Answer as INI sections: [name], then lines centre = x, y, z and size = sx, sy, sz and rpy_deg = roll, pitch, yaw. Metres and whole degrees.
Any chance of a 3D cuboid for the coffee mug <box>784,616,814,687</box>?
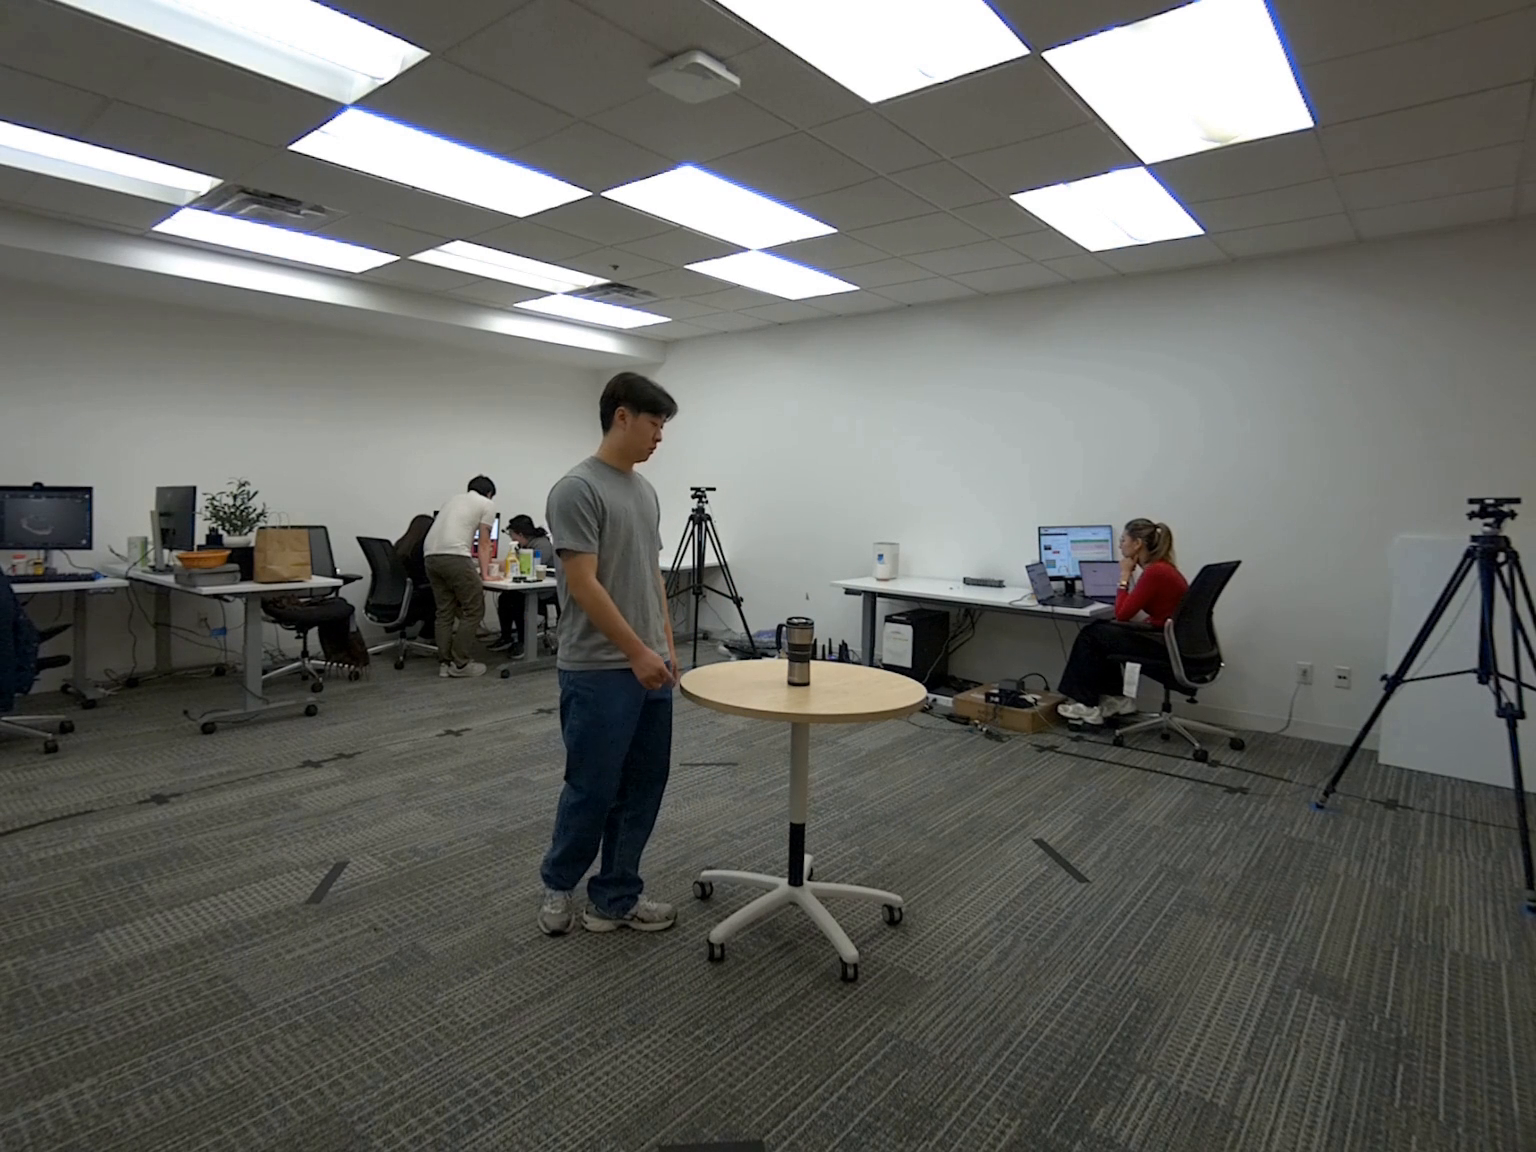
[coffee mug]
centre = 0.077, 0.237, 2.646
size = 0.126, 0.201, 0.085
rpy_deg = 8, 11, 38
